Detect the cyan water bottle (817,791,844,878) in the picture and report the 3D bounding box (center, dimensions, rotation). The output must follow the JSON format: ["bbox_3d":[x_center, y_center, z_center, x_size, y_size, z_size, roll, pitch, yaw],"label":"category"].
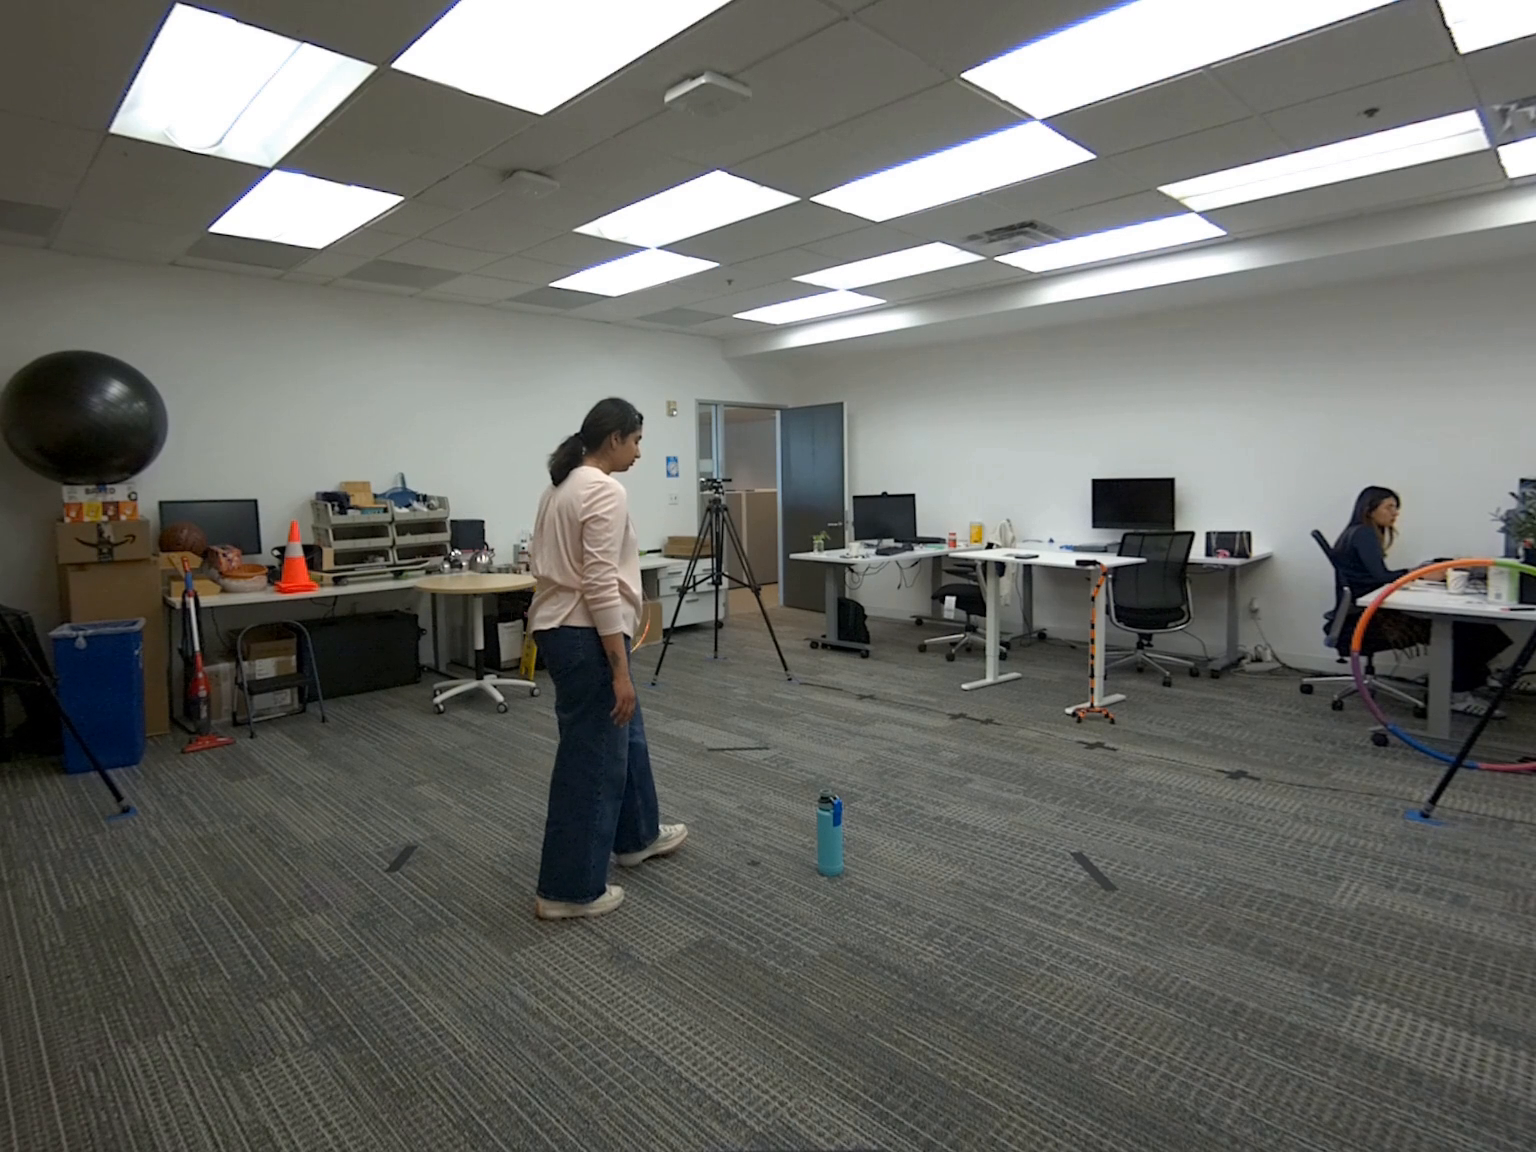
[{"bbox_3d":[0.219,0.905,3.025,0.092,0.282,0.093,0,5,-2],"label":"cyan water bottle"}]
